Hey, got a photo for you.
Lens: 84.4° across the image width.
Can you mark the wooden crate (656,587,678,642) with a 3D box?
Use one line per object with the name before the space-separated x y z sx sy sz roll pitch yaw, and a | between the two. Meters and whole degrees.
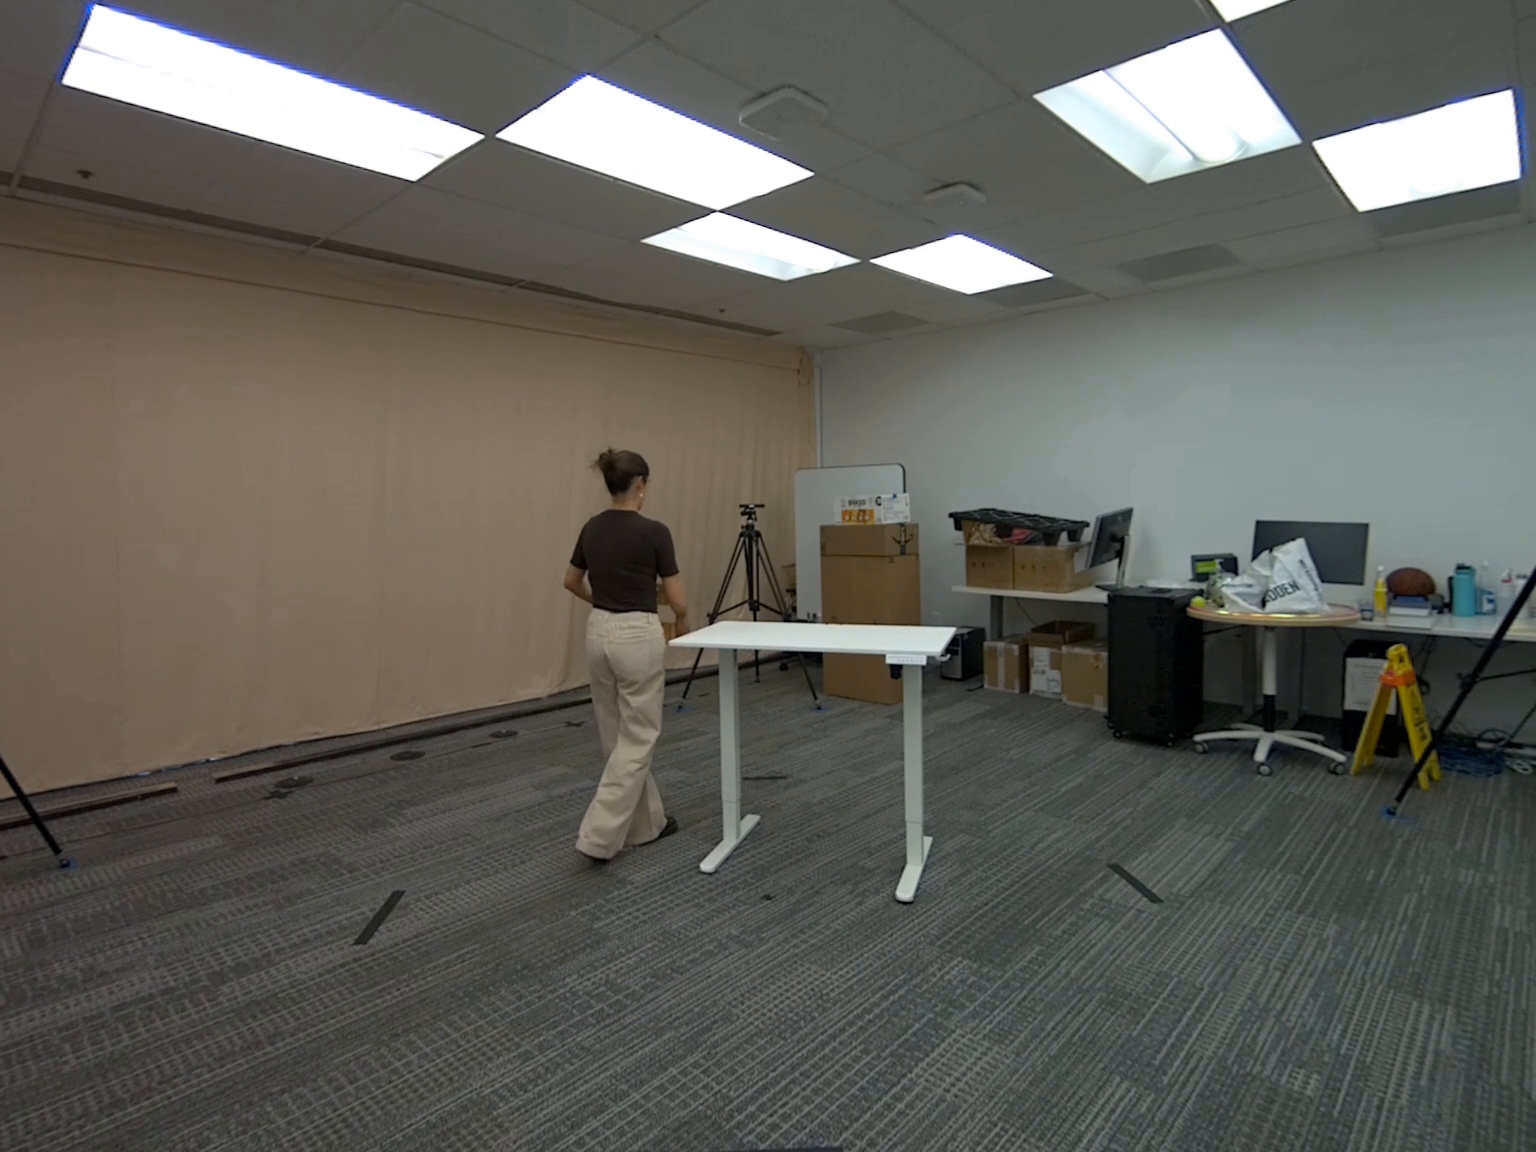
wooden crate | -0.539 0.146 3.701 0.330 0.273 0.296 2 0 16
